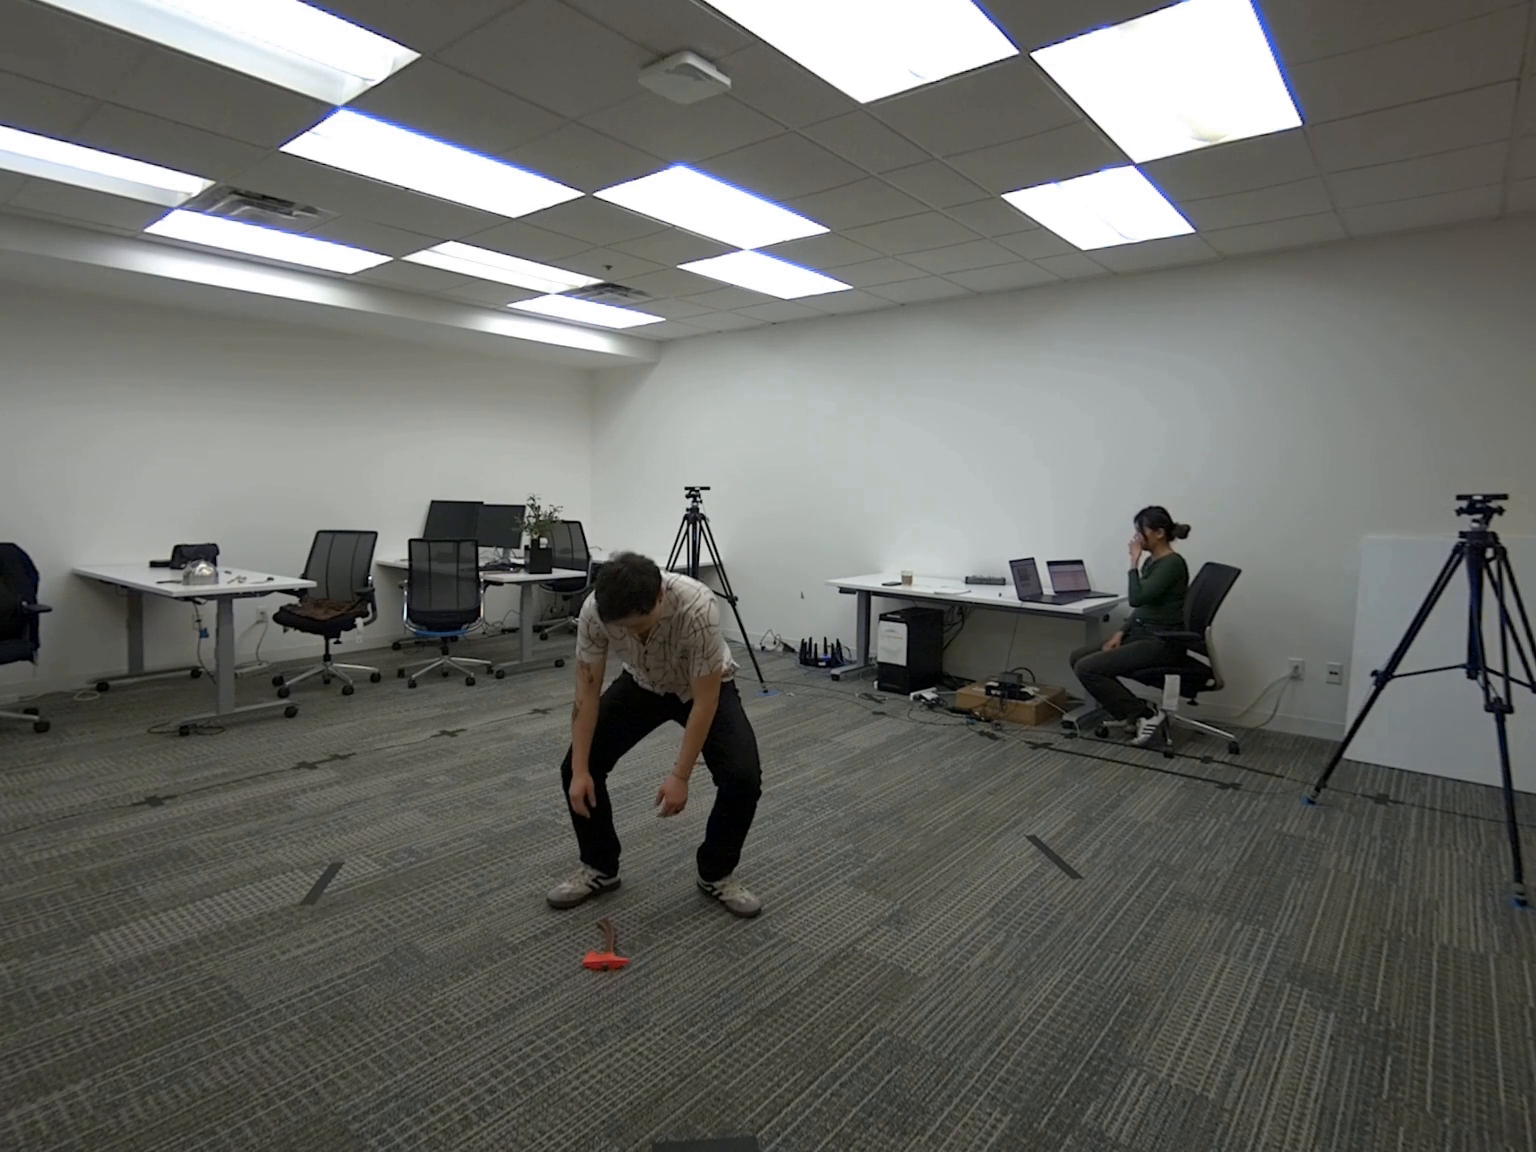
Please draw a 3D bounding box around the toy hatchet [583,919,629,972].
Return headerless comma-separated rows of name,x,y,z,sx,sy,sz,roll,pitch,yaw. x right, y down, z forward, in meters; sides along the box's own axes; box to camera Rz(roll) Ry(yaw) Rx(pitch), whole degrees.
toy hatchet,-0.518,1.104,2.559,0.128,0.029,0.276,-6,6,-22
